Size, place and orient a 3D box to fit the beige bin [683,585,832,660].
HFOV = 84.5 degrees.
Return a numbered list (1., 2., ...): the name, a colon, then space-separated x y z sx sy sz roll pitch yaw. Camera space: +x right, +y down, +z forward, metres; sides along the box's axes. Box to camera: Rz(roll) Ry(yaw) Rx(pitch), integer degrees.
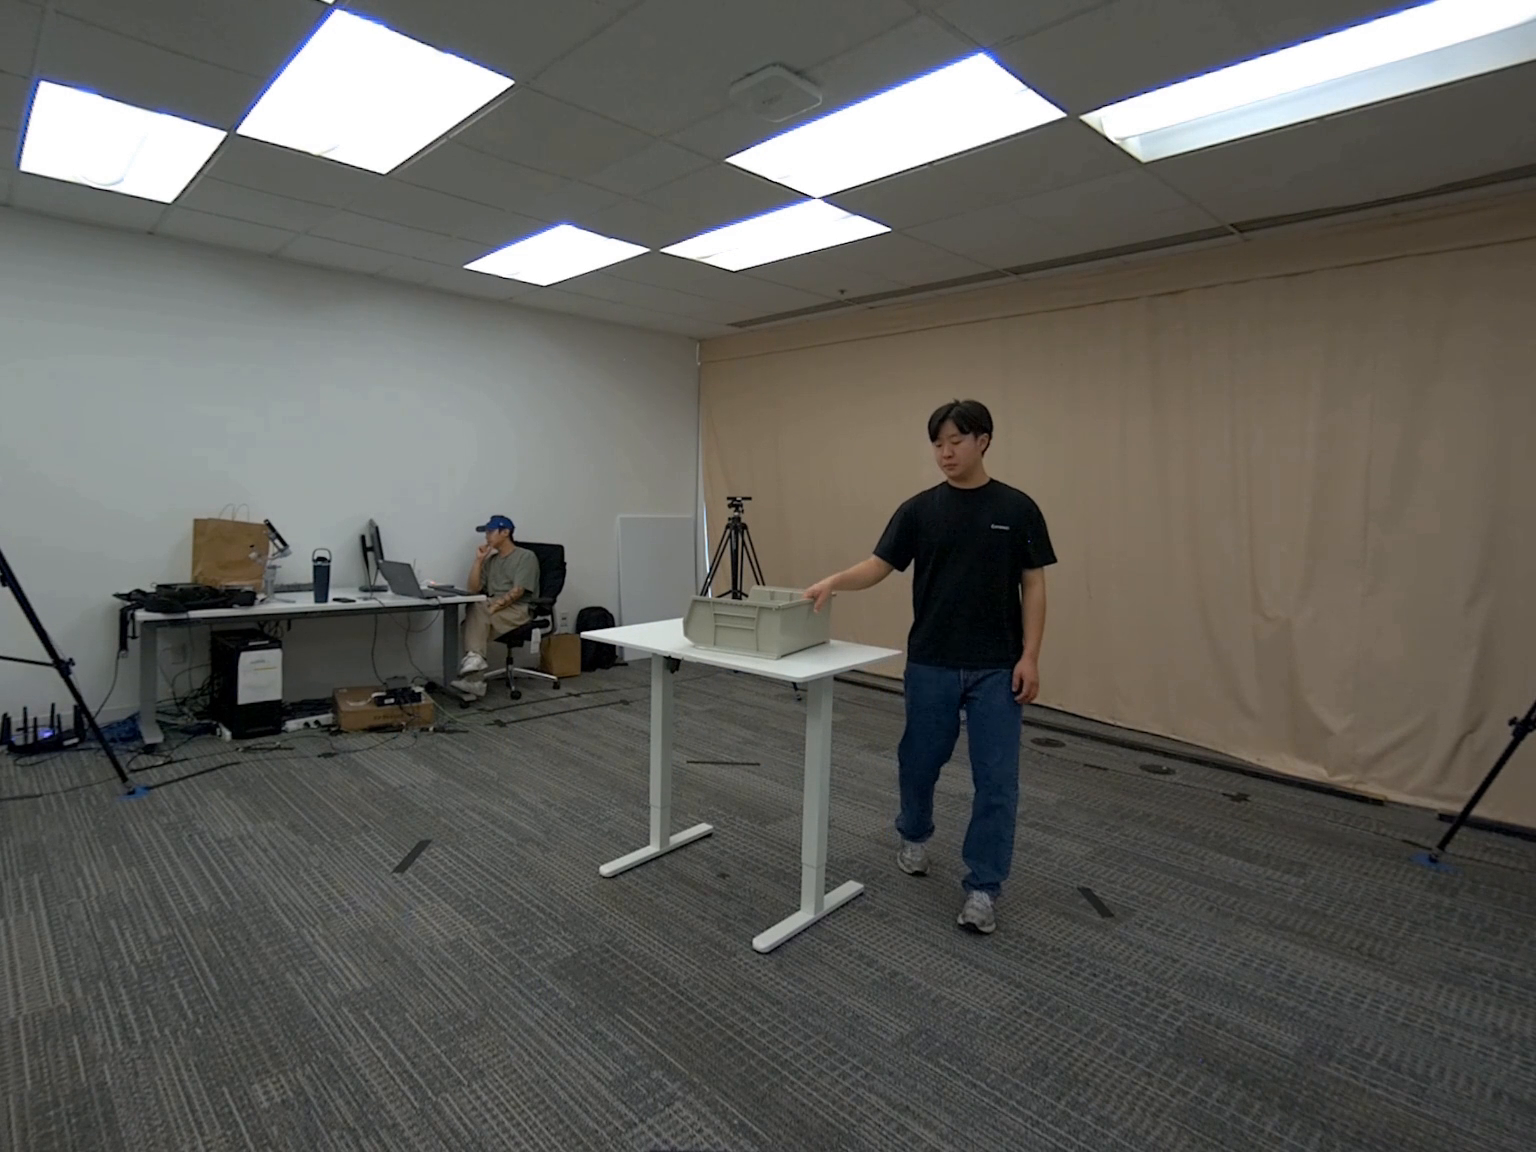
1. beige bin: -0.029 0.158 2.933 0.386 0.188 0.414 6 6 30
